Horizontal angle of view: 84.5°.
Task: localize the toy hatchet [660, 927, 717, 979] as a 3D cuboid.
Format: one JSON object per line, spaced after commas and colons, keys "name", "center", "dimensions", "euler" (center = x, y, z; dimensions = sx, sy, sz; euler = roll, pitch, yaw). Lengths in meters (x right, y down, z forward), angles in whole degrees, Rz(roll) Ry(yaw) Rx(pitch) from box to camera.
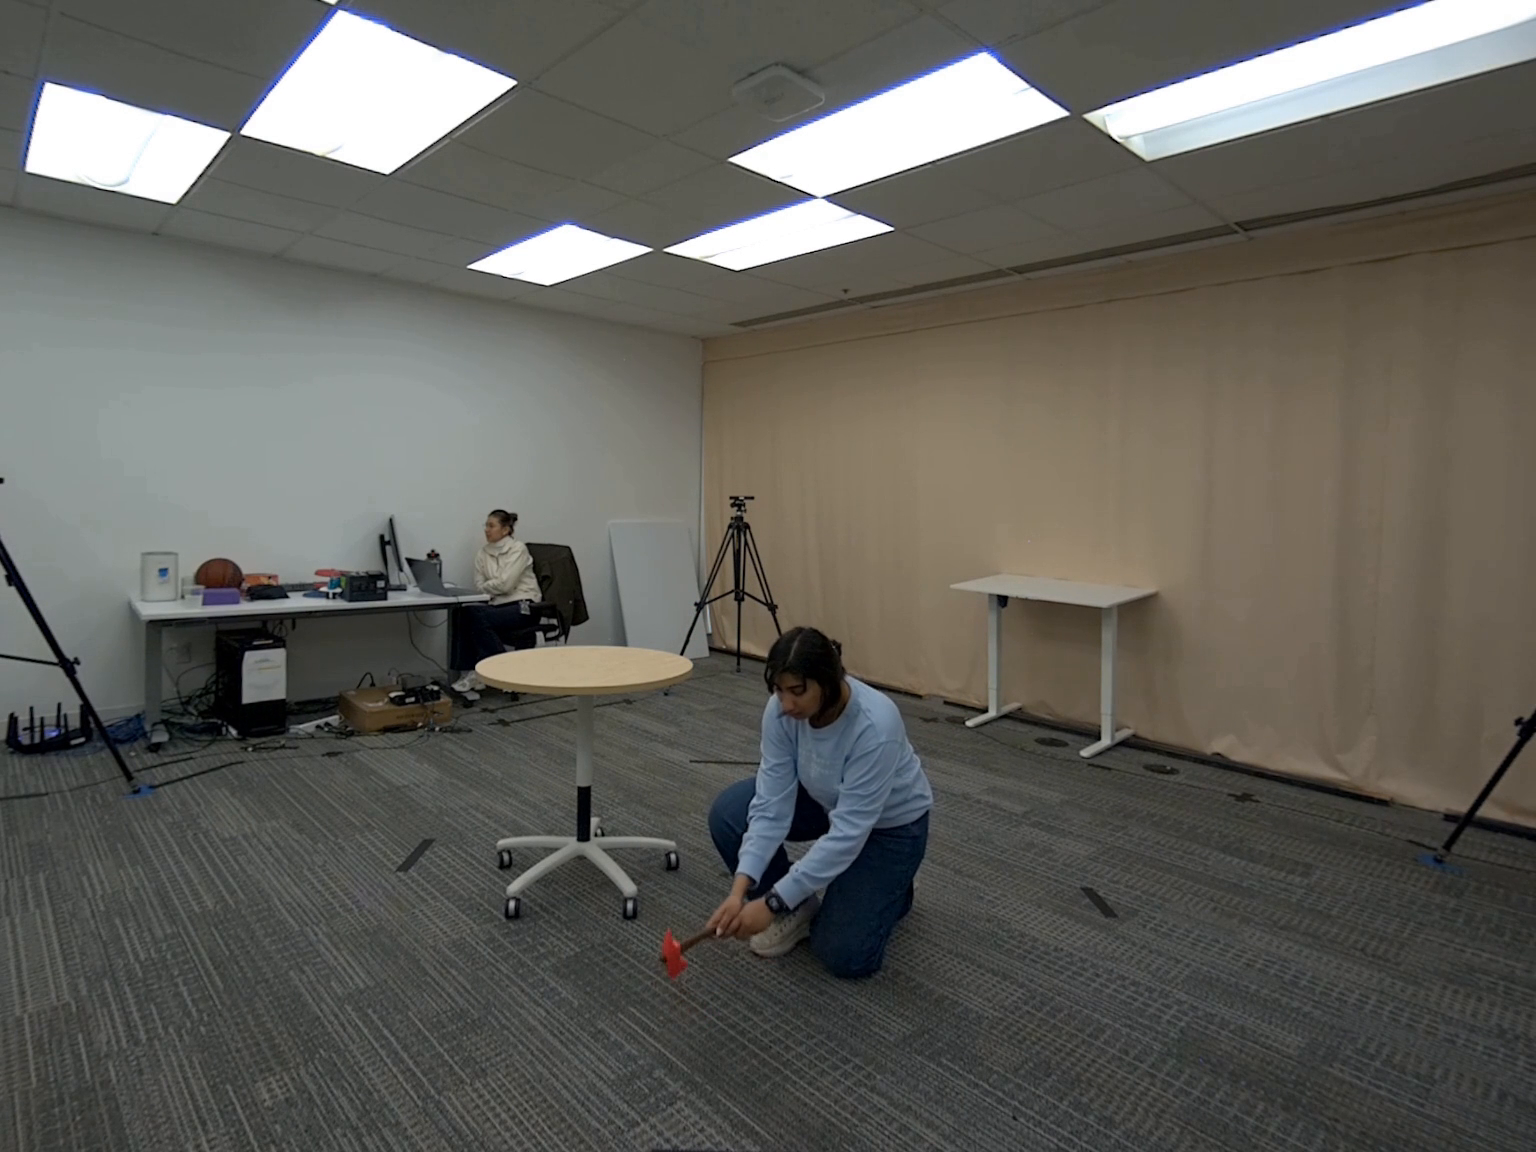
{"name": "toy hatchet", "center": [-0.172, 0.969, 2.153], "dimensions": [0.263, 0.131, 0.030], "euler": [18, -6, -30]}
